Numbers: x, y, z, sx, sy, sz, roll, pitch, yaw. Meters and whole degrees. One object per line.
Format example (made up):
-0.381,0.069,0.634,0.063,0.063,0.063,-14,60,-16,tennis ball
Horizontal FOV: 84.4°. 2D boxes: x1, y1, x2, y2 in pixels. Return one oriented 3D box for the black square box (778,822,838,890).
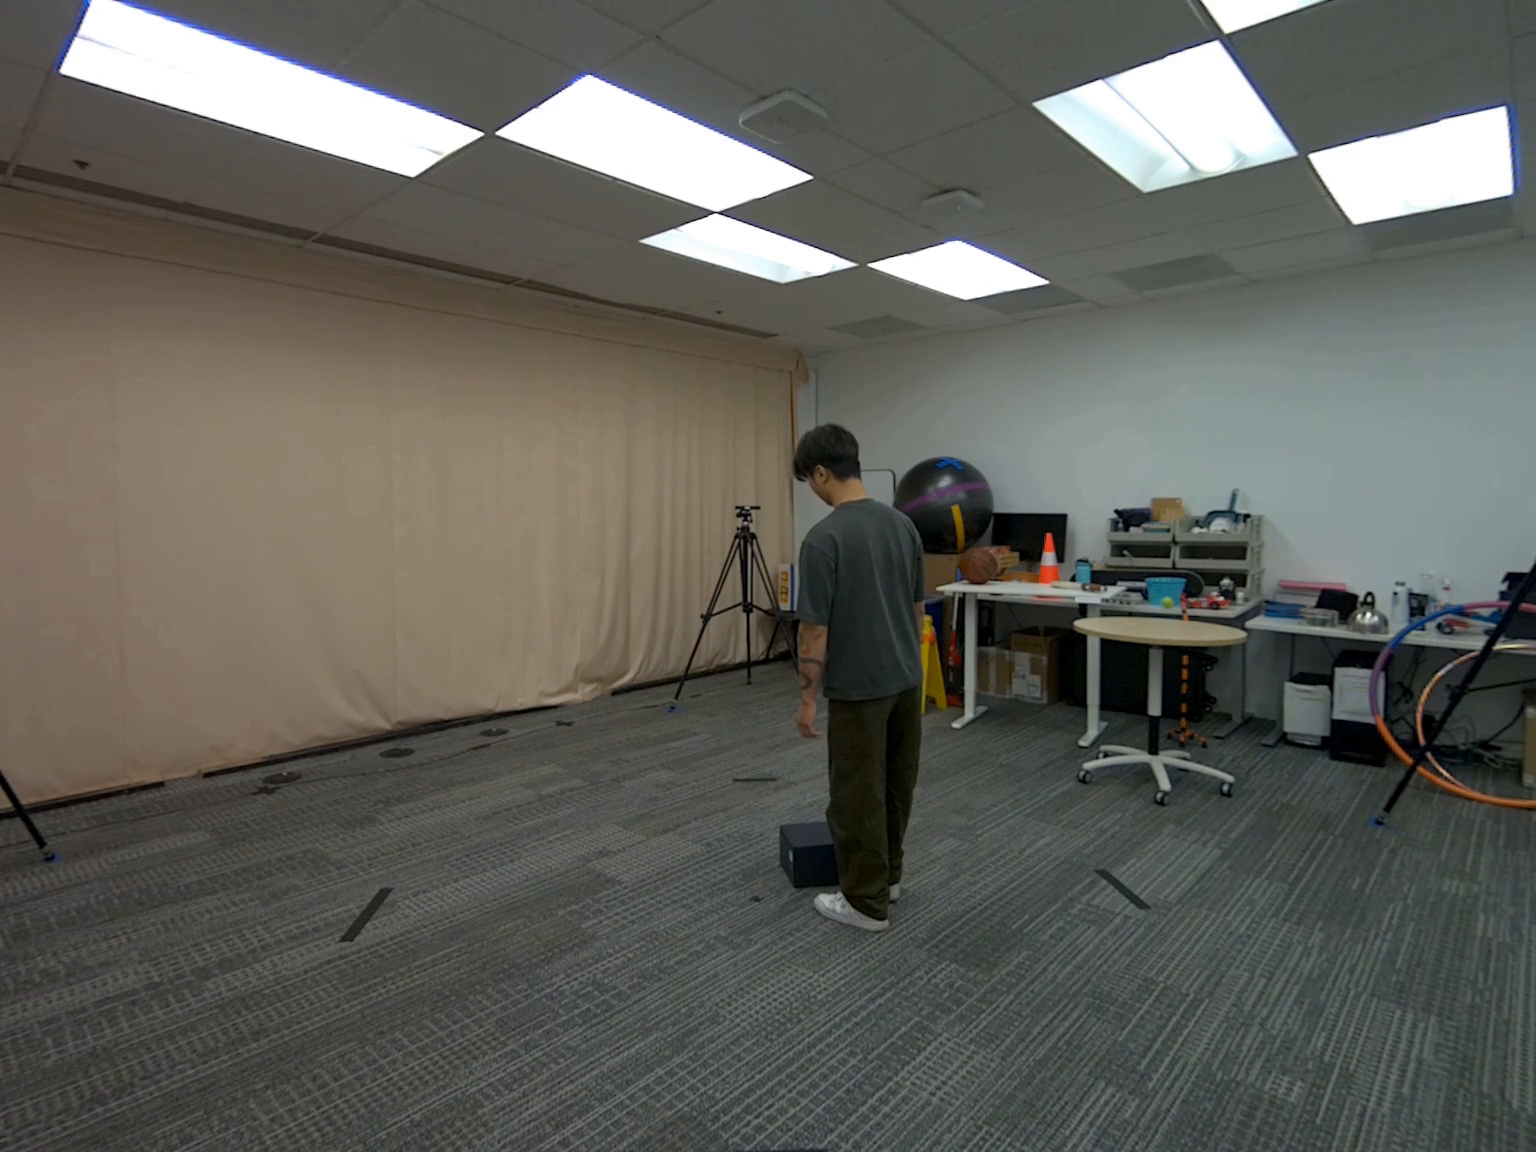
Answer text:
0.173,1.041,3.181,0.225,0.155,0.220,-1,4,-11,black square box
